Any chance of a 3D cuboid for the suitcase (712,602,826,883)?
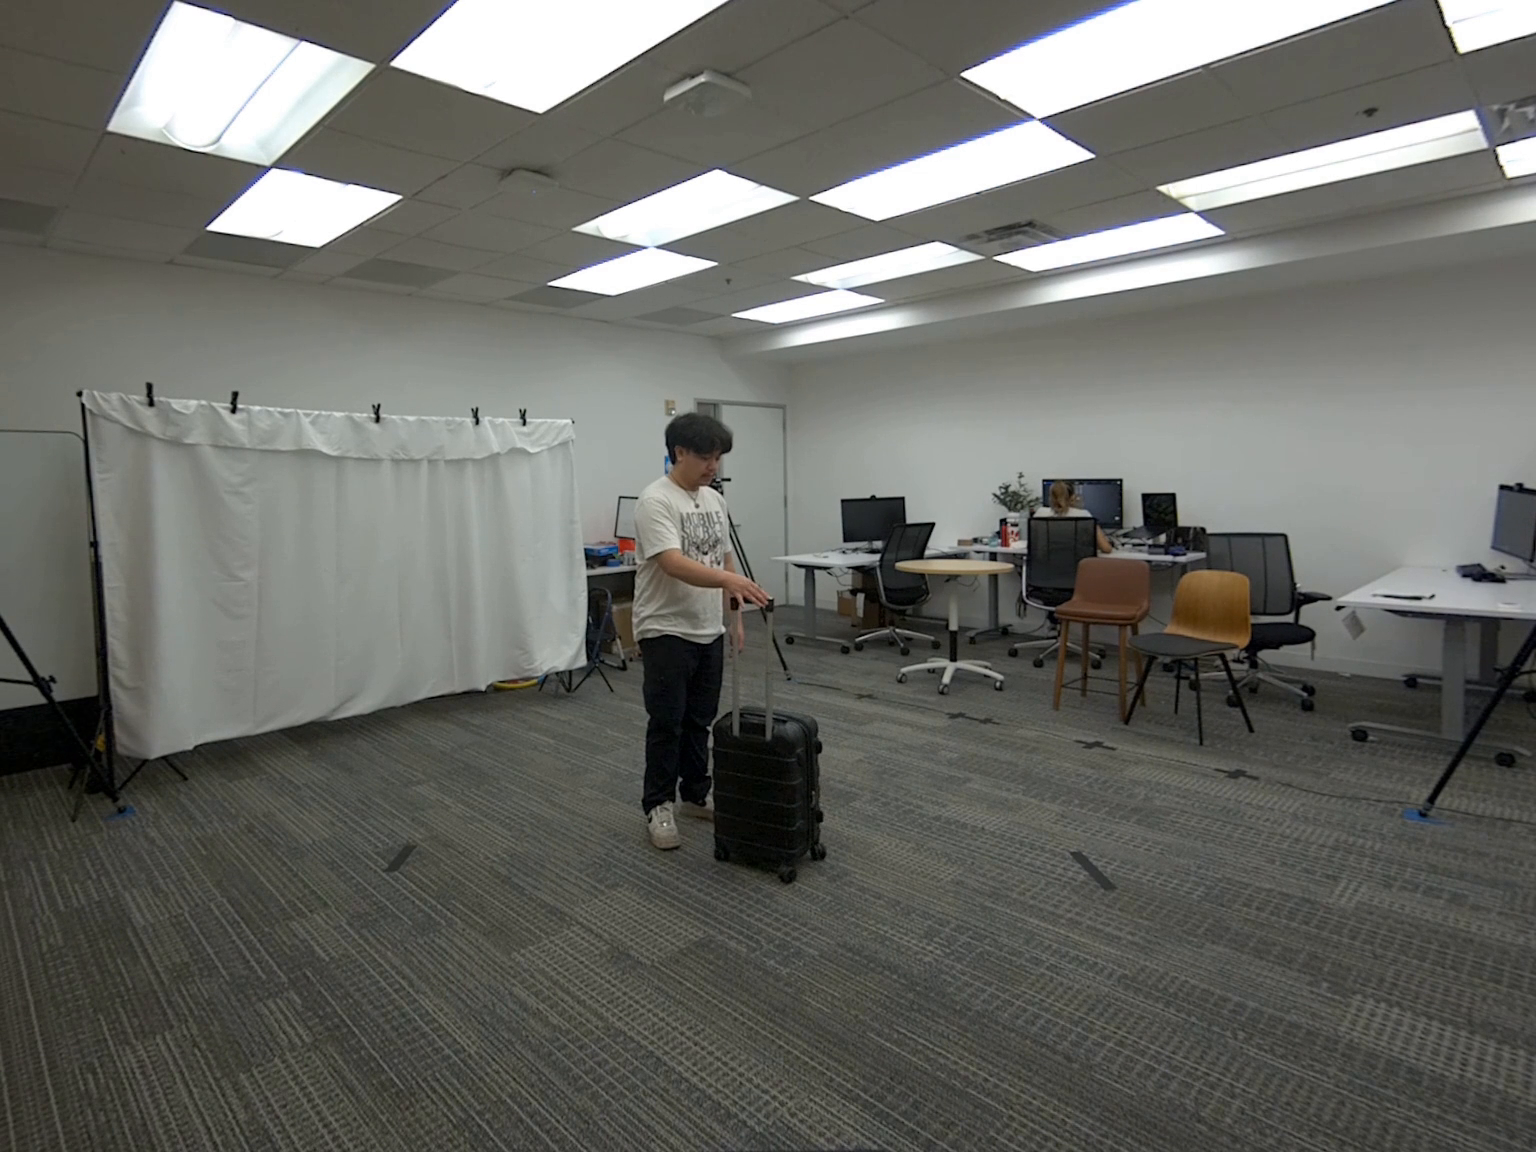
[{"bbox_3d":[-0.005,0.568,3.105,0.394,0.976,0.251,1,3,29],"label":"suitcase"}]
